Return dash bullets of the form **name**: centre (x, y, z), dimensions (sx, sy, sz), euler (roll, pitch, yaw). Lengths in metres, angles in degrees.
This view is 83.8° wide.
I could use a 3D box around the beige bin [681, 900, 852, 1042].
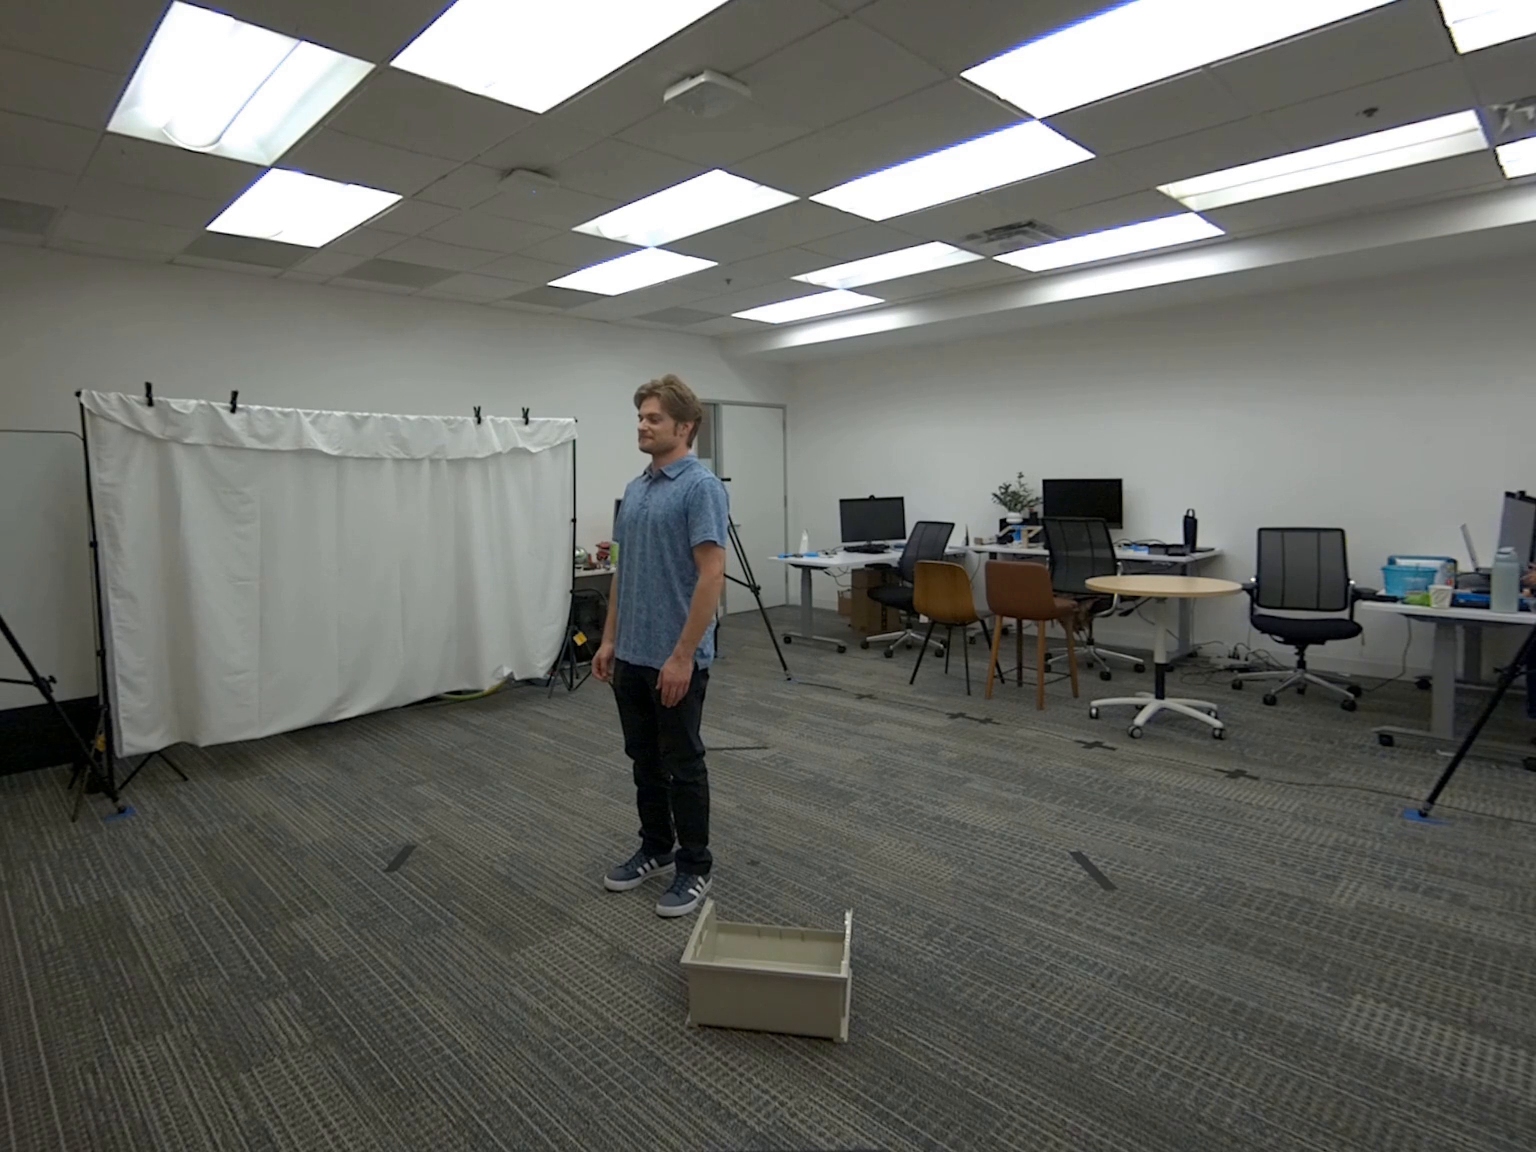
- **beige bin**: centre (0.018, 1.048, 2.312), dimensions (0.426, 0.188, 0.376), euler (0, 7, 9)
